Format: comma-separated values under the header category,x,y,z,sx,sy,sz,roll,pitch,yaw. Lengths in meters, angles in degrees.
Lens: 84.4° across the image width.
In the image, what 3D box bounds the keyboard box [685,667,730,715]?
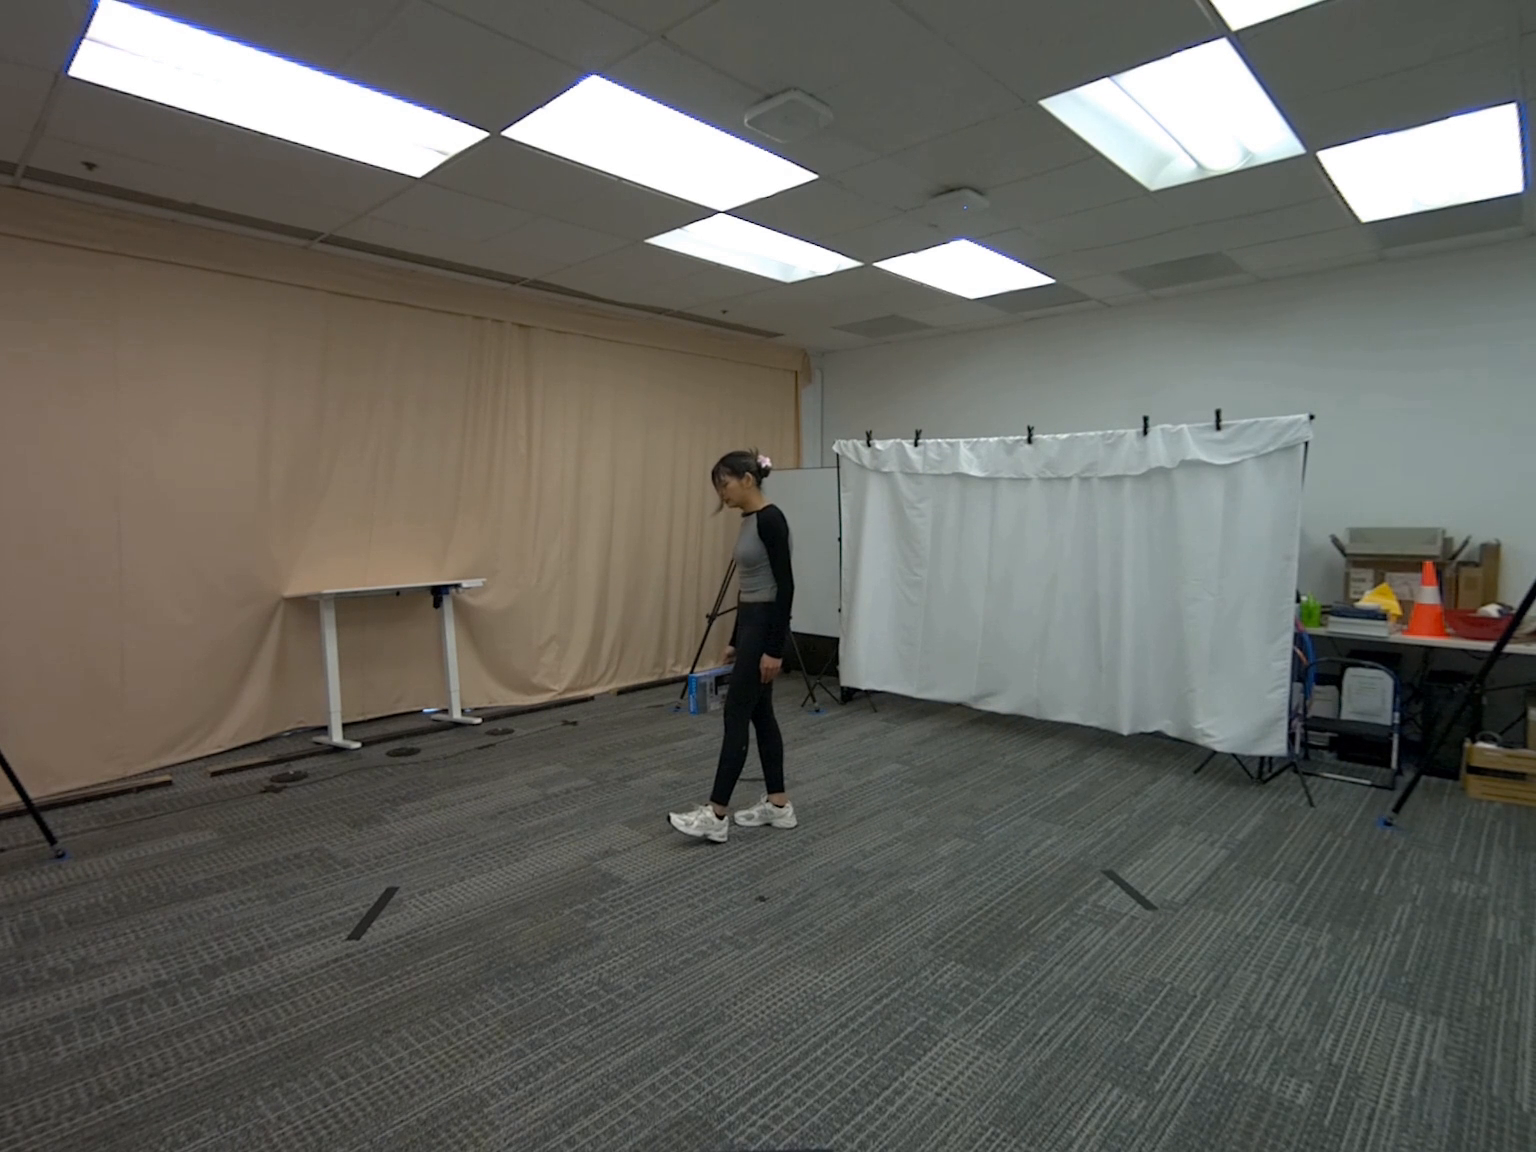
category,x,y,z,sx,sy,sz,roll,pitch,yaw
keyboard box,-0.168,0.501,3.812,0.424,0.175,0.061,-7,7,-41
